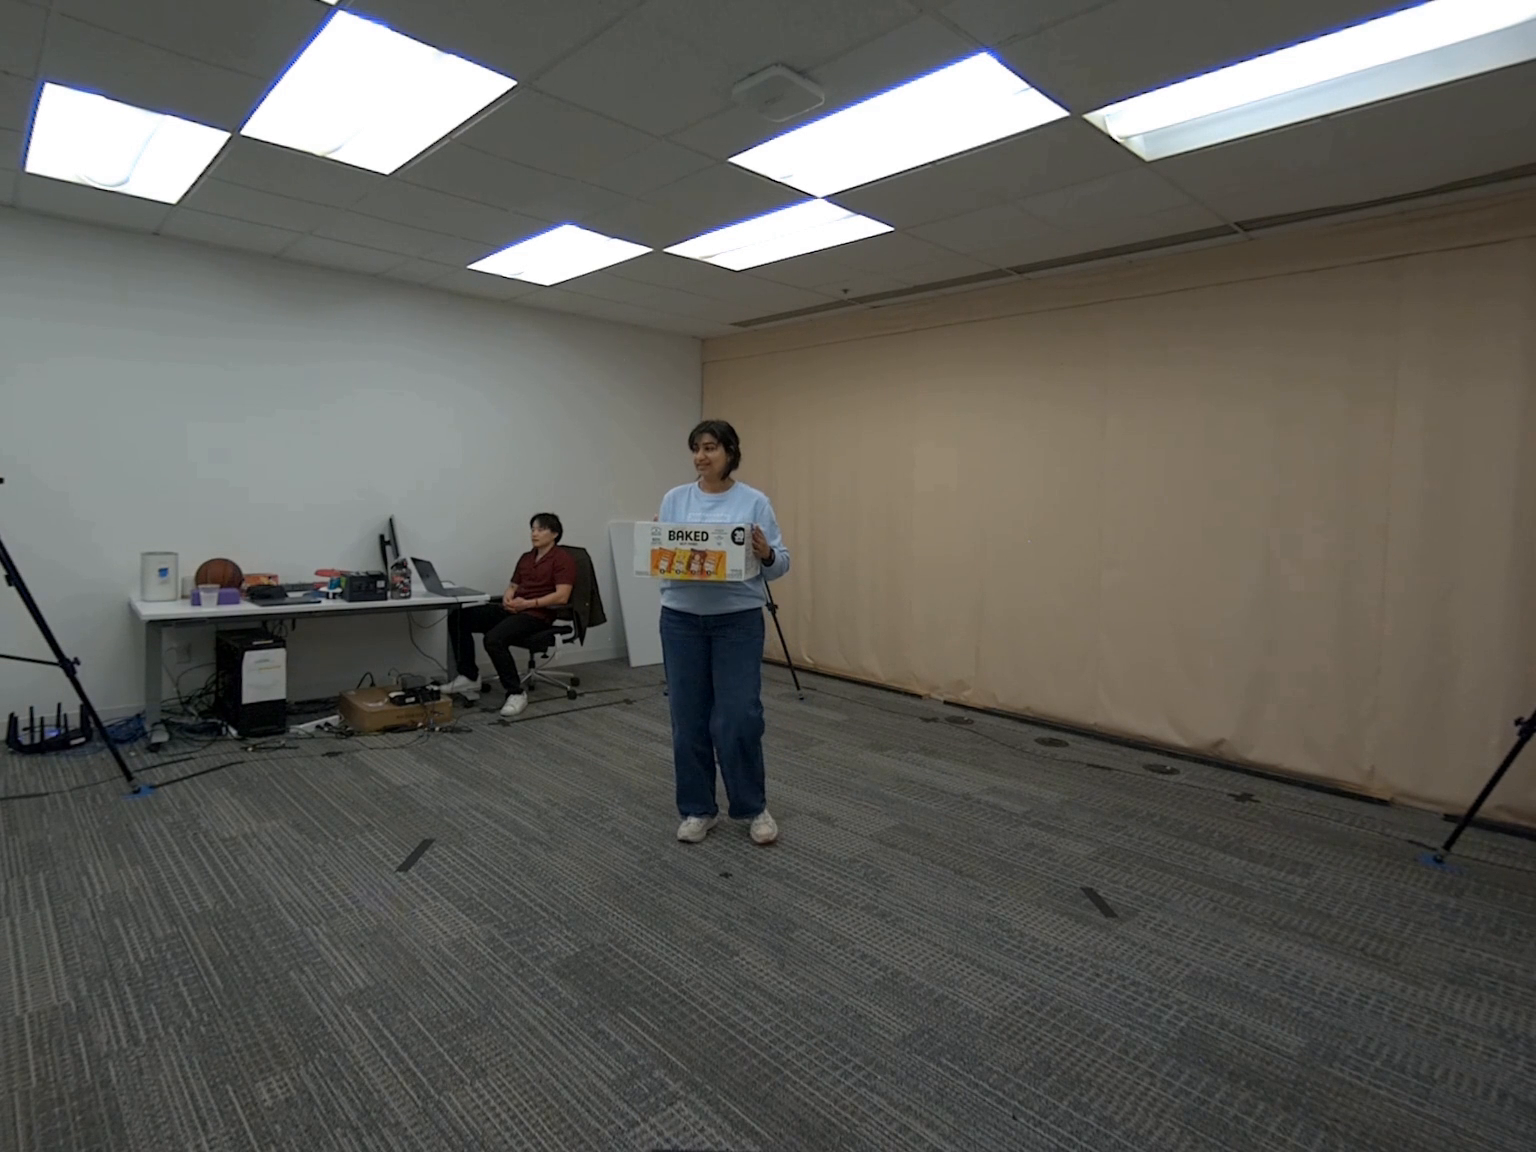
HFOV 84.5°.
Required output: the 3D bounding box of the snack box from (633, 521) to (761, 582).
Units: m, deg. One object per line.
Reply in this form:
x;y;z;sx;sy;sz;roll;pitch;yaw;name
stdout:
-0.260;-0.095;3.152;0.409;0.205;0.338;2;3;10;snack box
